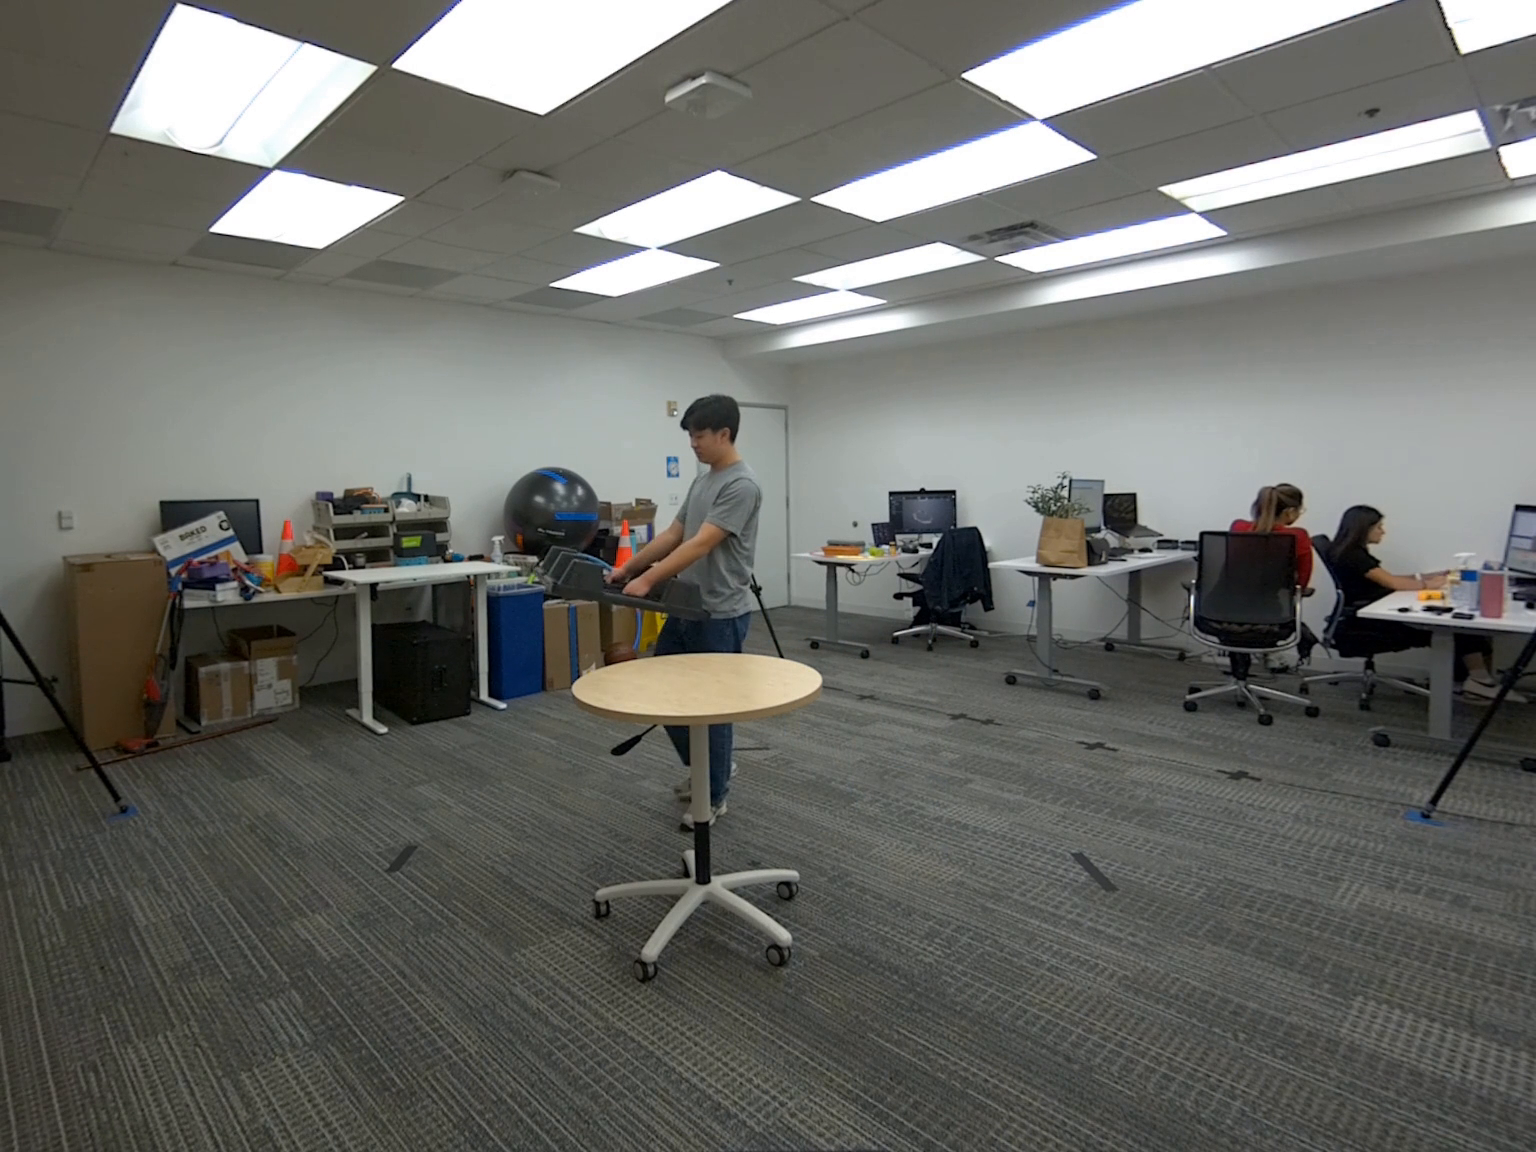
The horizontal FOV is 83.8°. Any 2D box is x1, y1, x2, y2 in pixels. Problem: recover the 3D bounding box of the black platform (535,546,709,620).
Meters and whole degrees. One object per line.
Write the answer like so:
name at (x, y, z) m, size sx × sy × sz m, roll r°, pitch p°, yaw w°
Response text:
black platform at (-0.600, 0.023, 3.443) m, size 0.592 × 0.143 × 0.823 m, roll 12°, pitch 2°, yaw -21°
